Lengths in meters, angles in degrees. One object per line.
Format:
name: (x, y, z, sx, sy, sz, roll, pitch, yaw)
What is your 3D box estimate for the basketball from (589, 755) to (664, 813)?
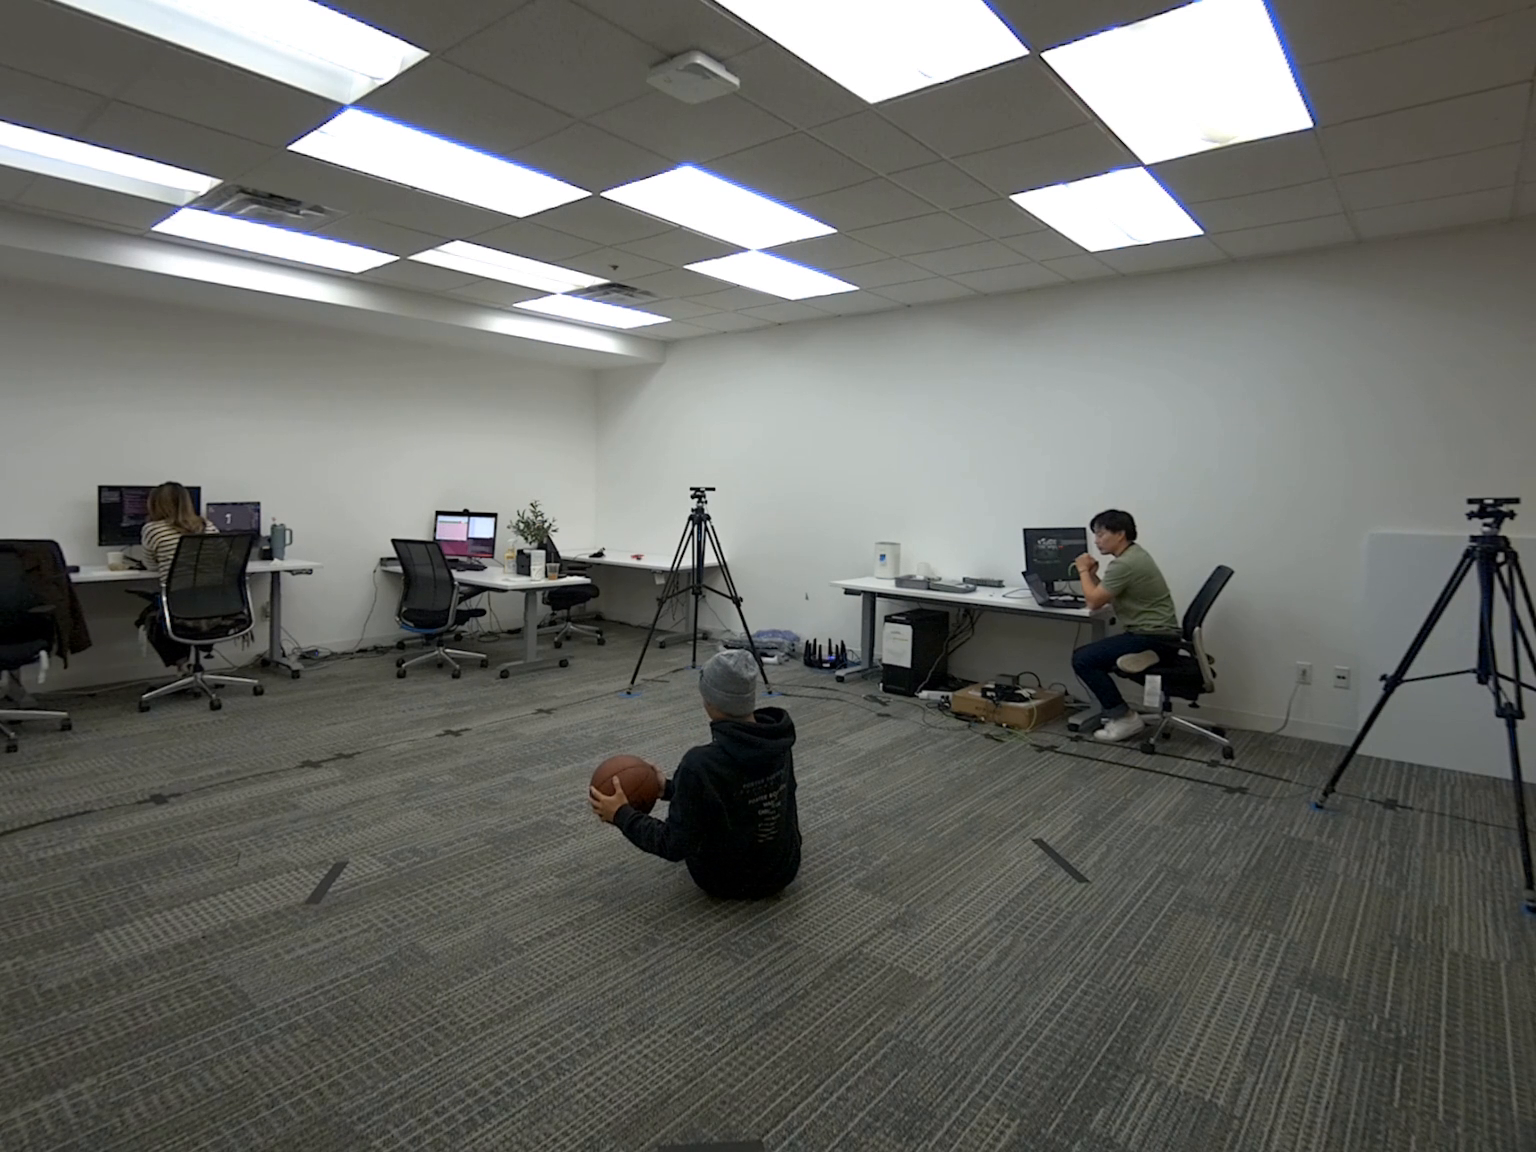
basketball: (-0.508, 0.740, 2.970, 0.235, 0.235, 0.237, 1, 4, -2)
